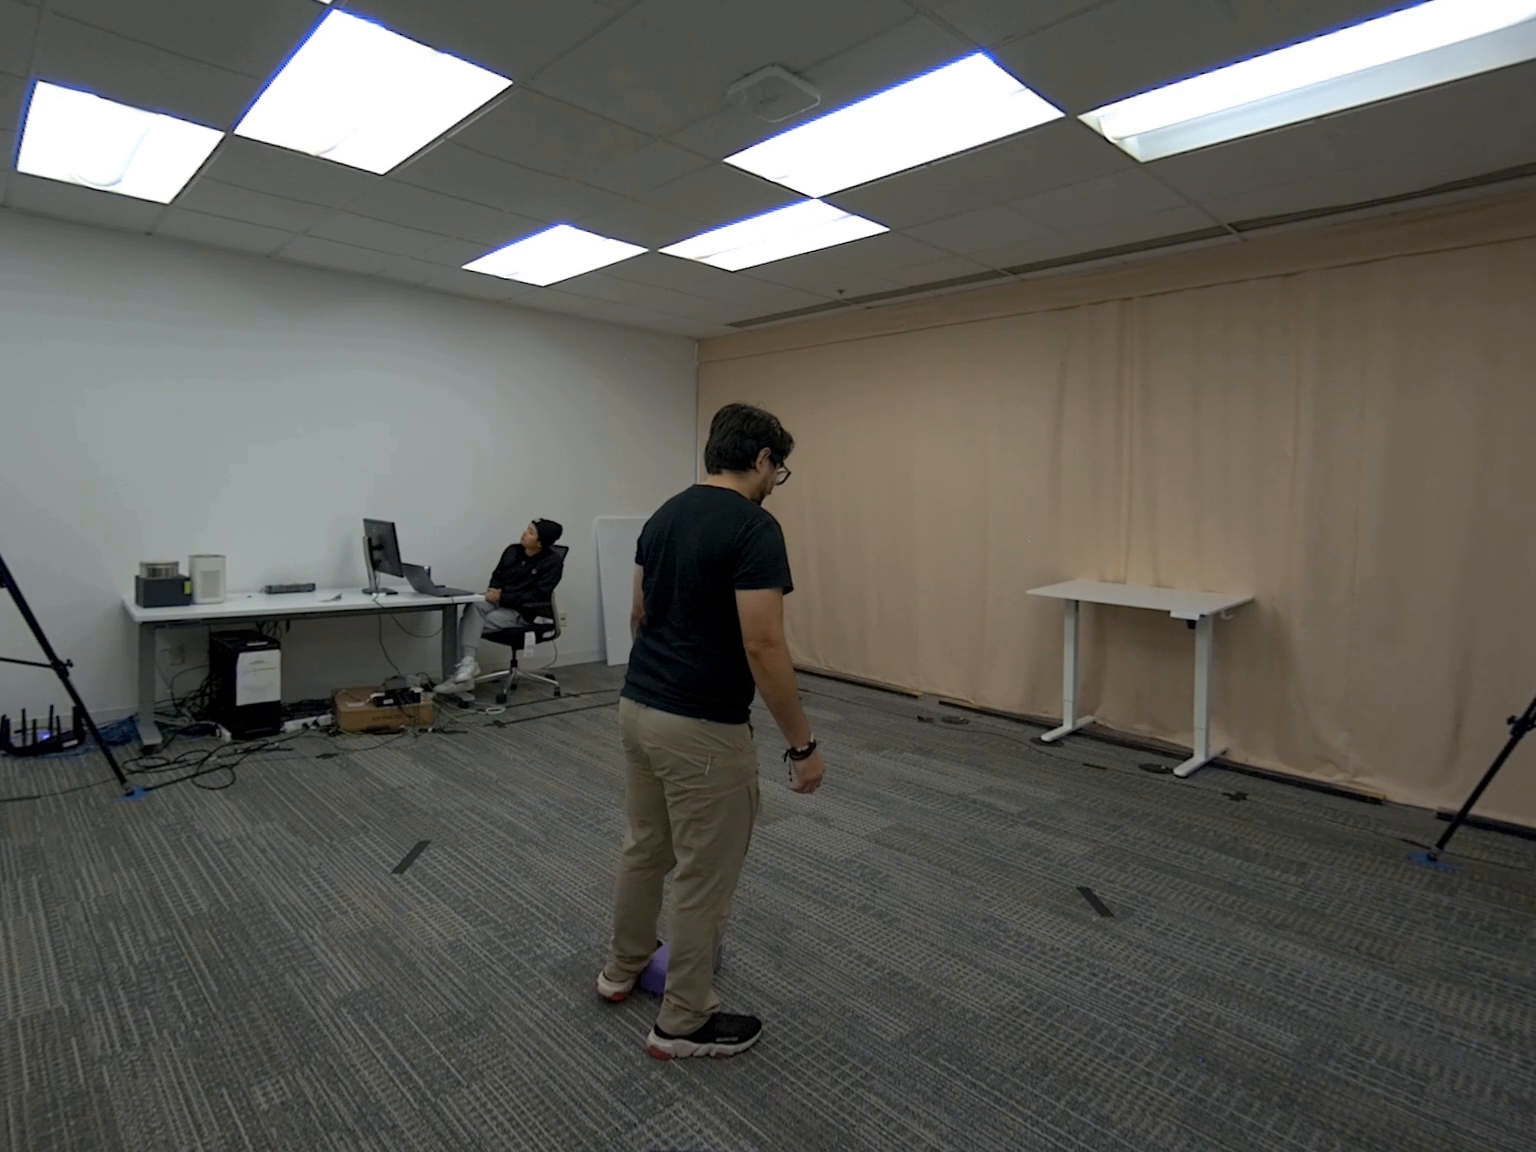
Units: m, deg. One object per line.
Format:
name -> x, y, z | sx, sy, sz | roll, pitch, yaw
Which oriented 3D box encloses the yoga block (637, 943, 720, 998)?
yoga block -> -0.247, 1.130, 2.432 | 0.152, 0.076, 0.226 | 2, 5, 25
